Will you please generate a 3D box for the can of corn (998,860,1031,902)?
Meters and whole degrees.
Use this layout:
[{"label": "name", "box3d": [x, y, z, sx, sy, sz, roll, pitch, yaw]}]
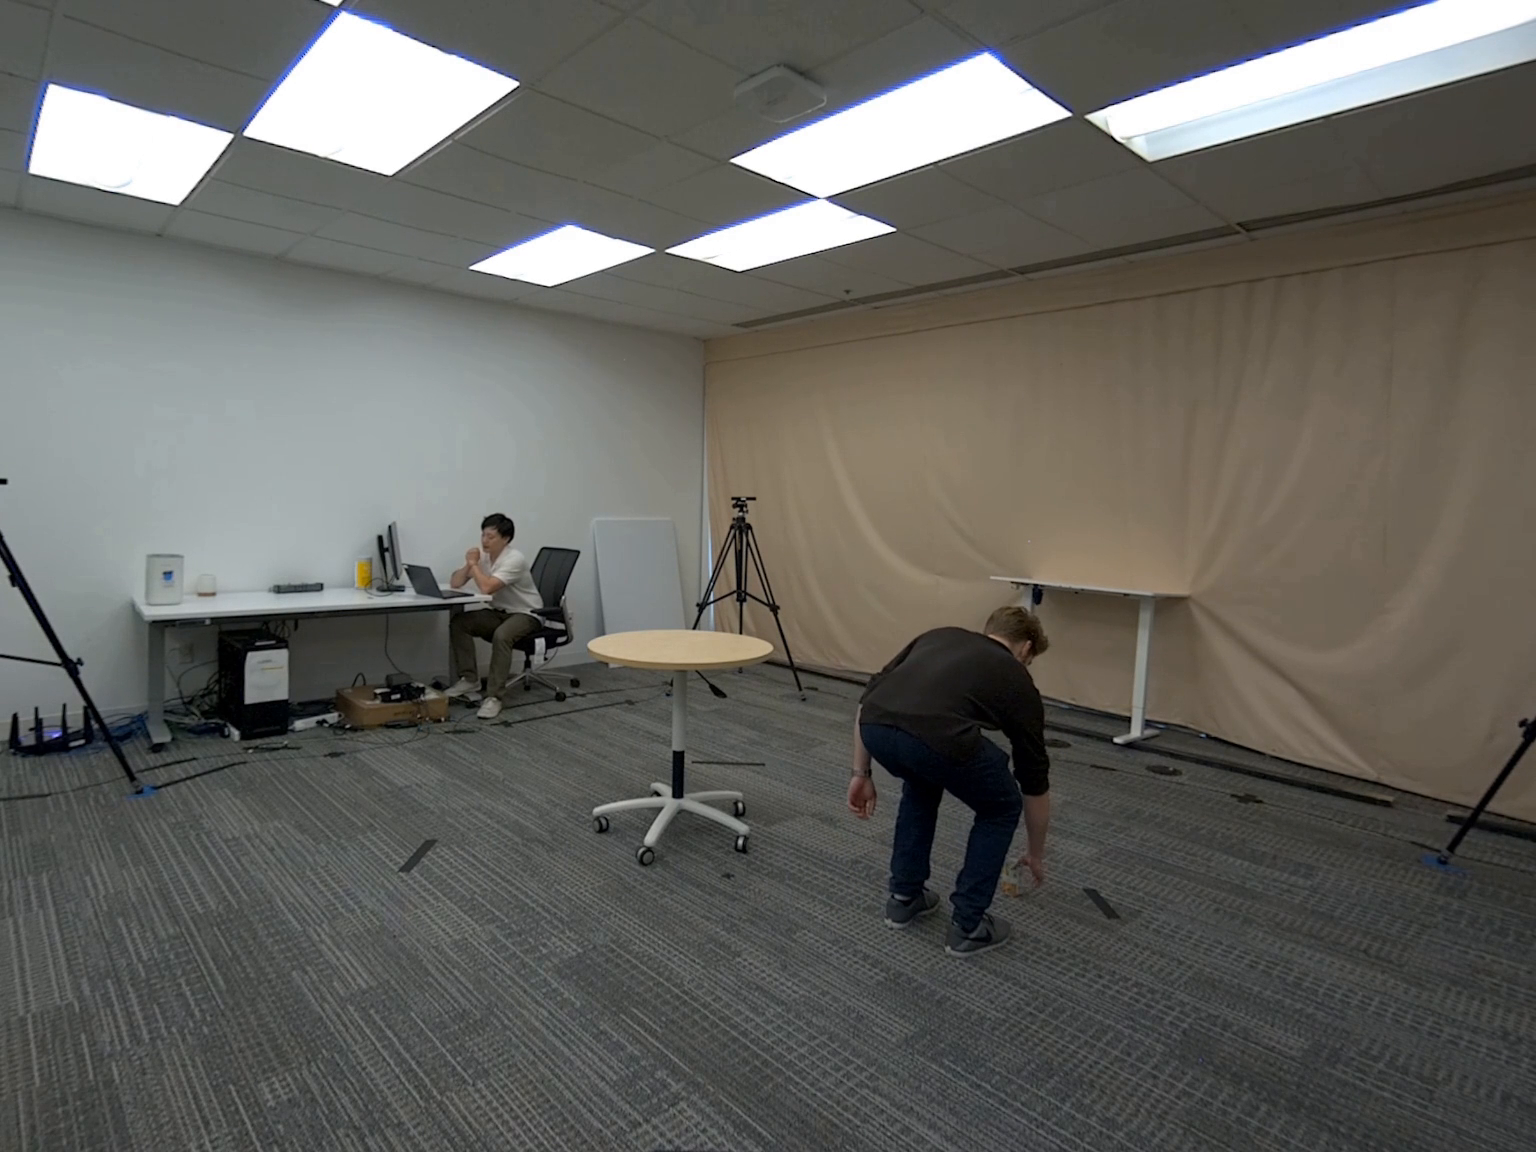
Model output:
[{"label": "can of corn", "box3d": [0.880, 1.088, 3.031, 0.074, 0.111, 0.074, 8, 4, -2]}]
